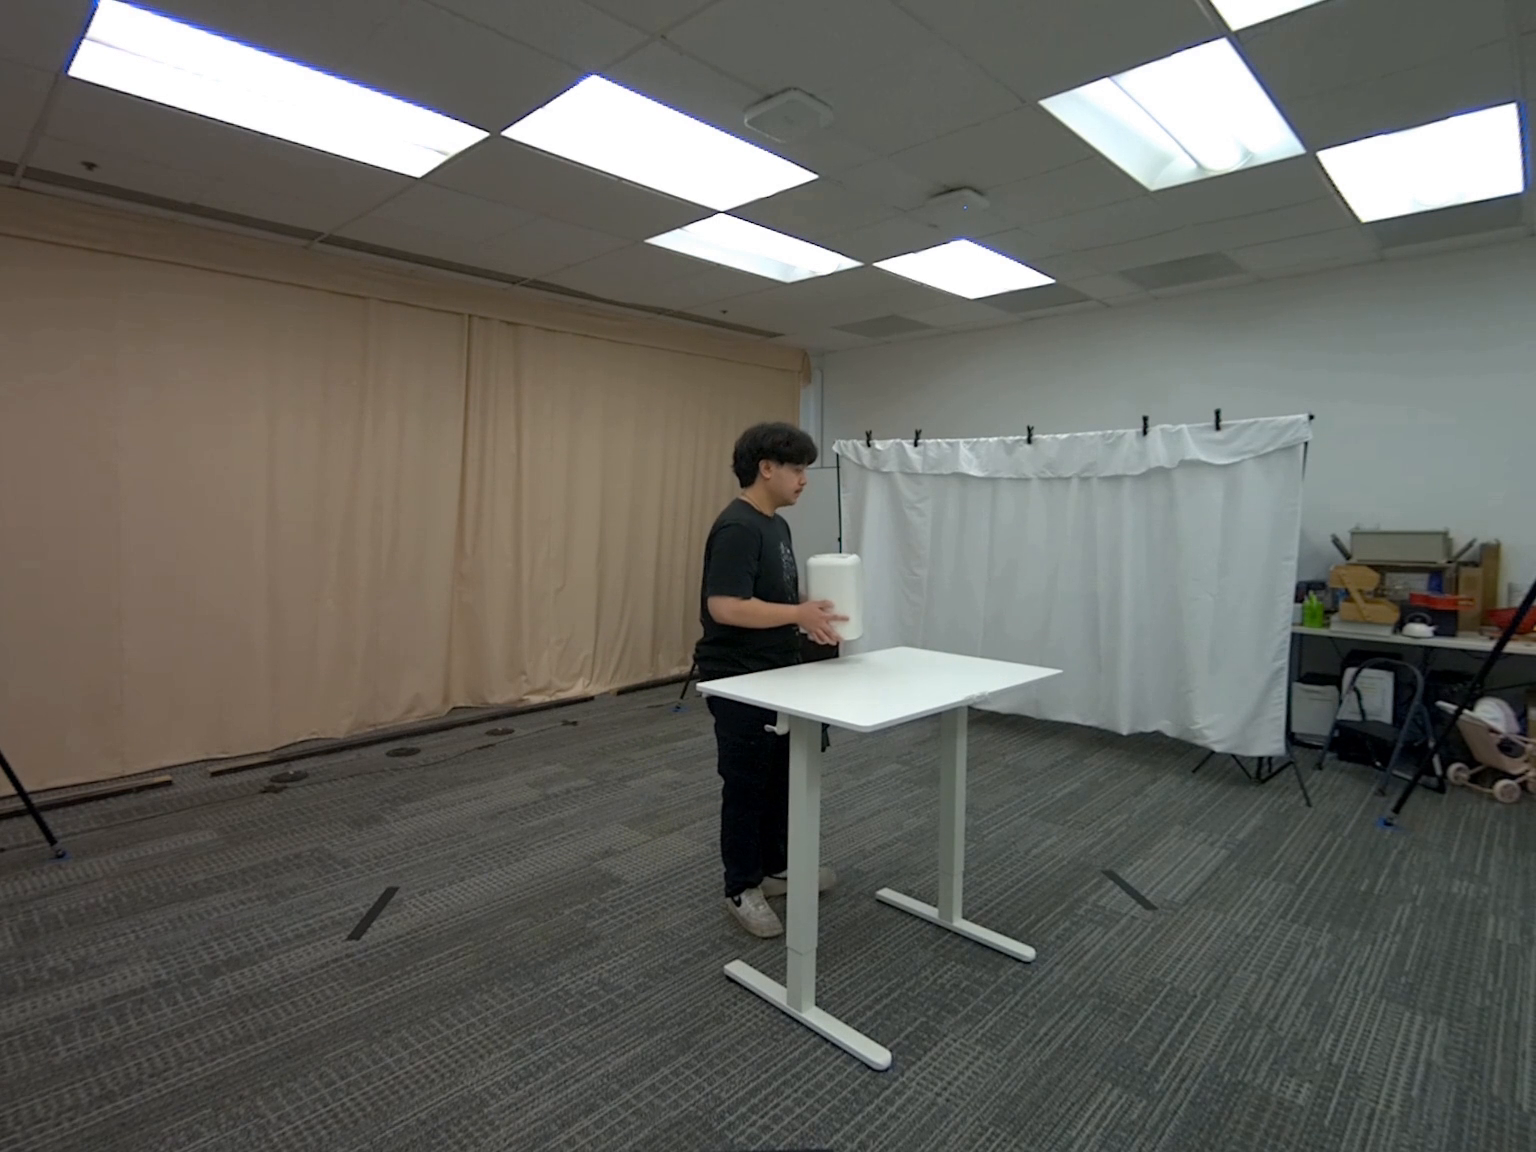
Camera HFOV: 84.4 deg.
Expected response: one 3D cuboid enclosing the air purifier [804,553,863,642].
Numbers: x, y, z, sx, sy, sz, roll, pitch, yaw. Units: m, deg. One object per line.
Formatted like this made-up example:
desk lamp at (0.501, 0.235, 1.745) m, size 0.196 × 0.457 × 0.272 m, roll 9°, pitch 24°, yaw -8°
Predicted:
air purifier at (0.220, 0.062, 2.734) m, size 0.174 × 0.264 × 0.169 m, roll 0°, pitch 5°, yaw 19°
